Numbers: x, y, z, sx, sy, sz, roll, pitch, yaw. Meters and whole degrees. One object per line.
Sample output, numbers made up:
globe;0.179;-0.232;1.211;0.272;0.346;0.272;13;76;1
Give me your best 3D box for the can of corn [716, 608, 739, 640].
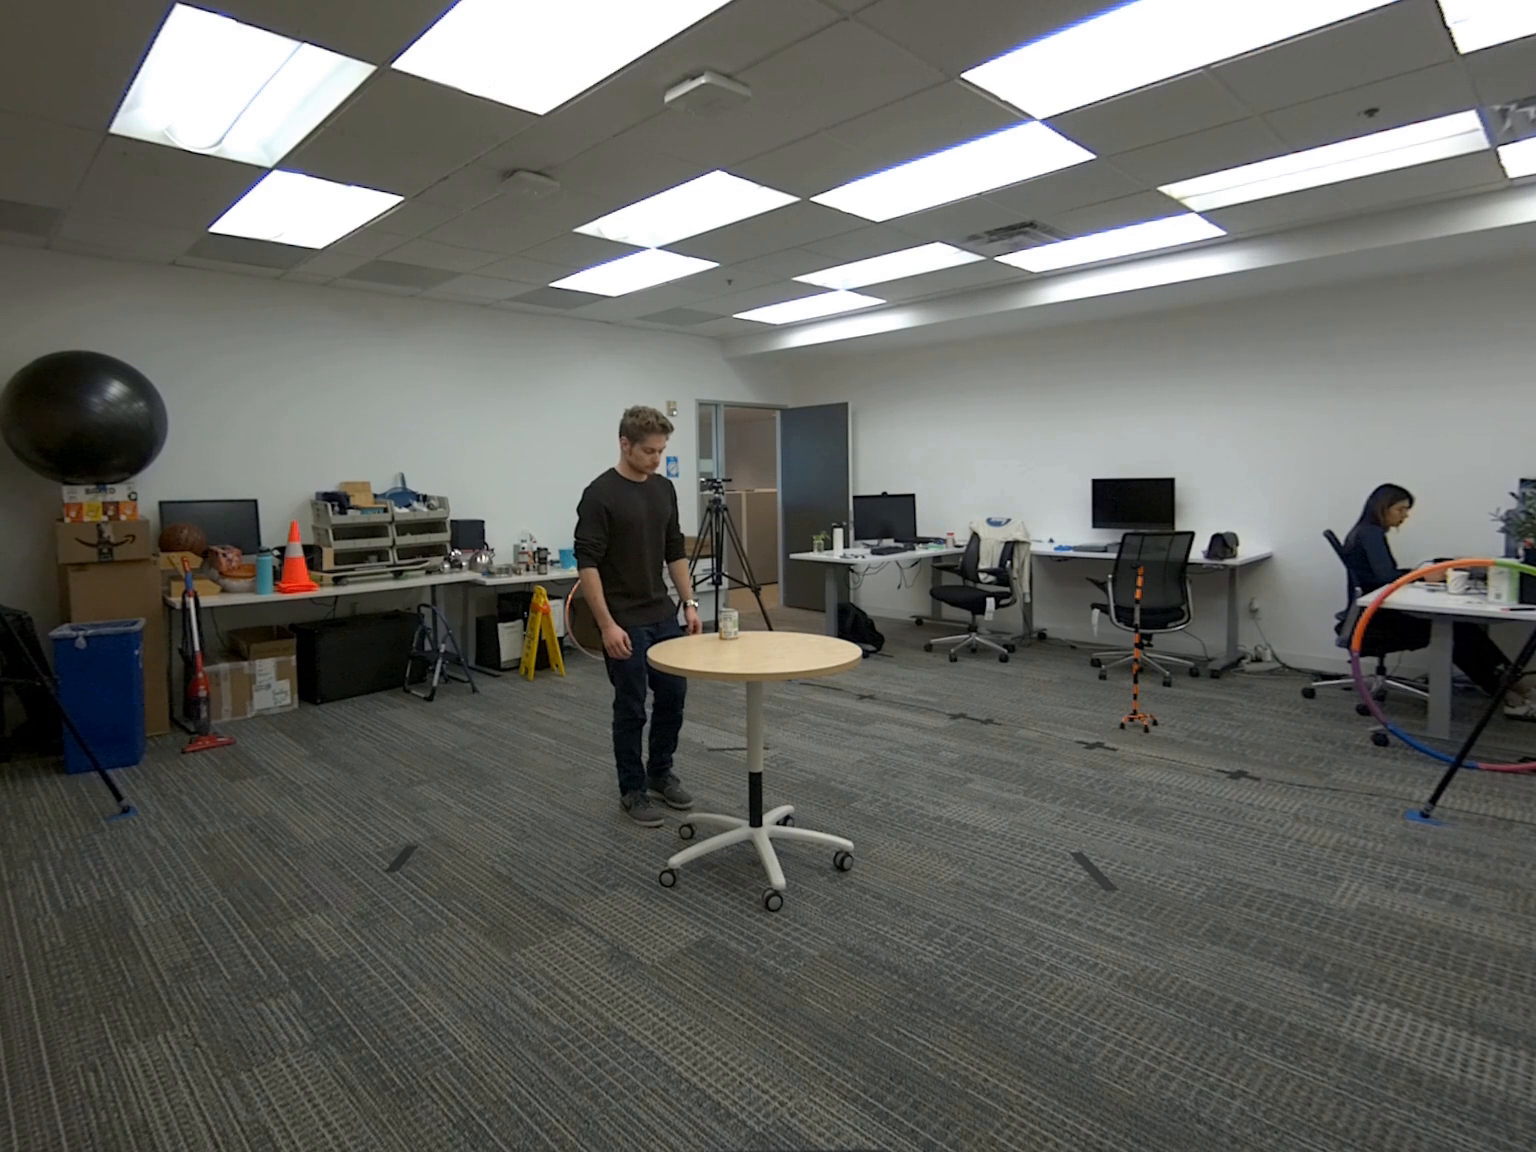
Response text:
can of corn;-0.151;0.186;3.285;0.074;0.111;0.074;-2;1;-2
